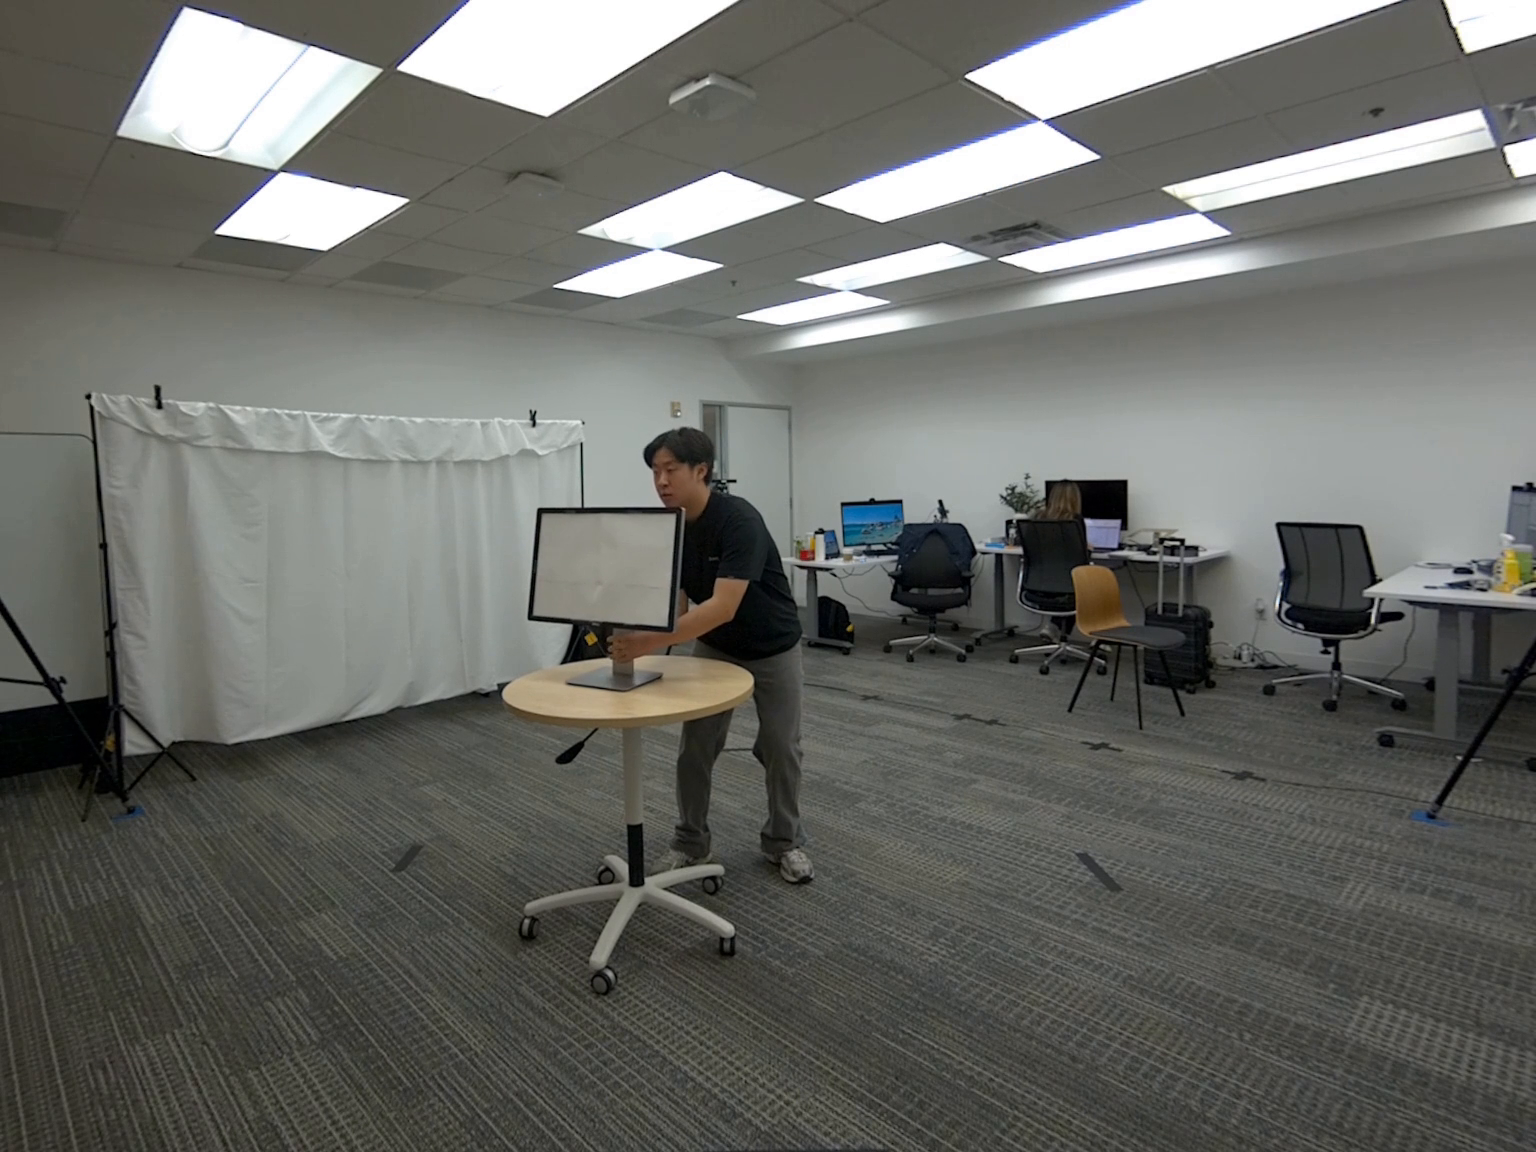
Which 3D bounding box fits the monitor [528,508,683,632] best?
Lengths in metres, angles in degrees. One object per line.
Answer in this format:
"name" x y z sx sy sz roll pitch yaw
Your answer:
"monitor" -0.486 0.070 2.641 0.577 0.562 0.217 2 9 33
